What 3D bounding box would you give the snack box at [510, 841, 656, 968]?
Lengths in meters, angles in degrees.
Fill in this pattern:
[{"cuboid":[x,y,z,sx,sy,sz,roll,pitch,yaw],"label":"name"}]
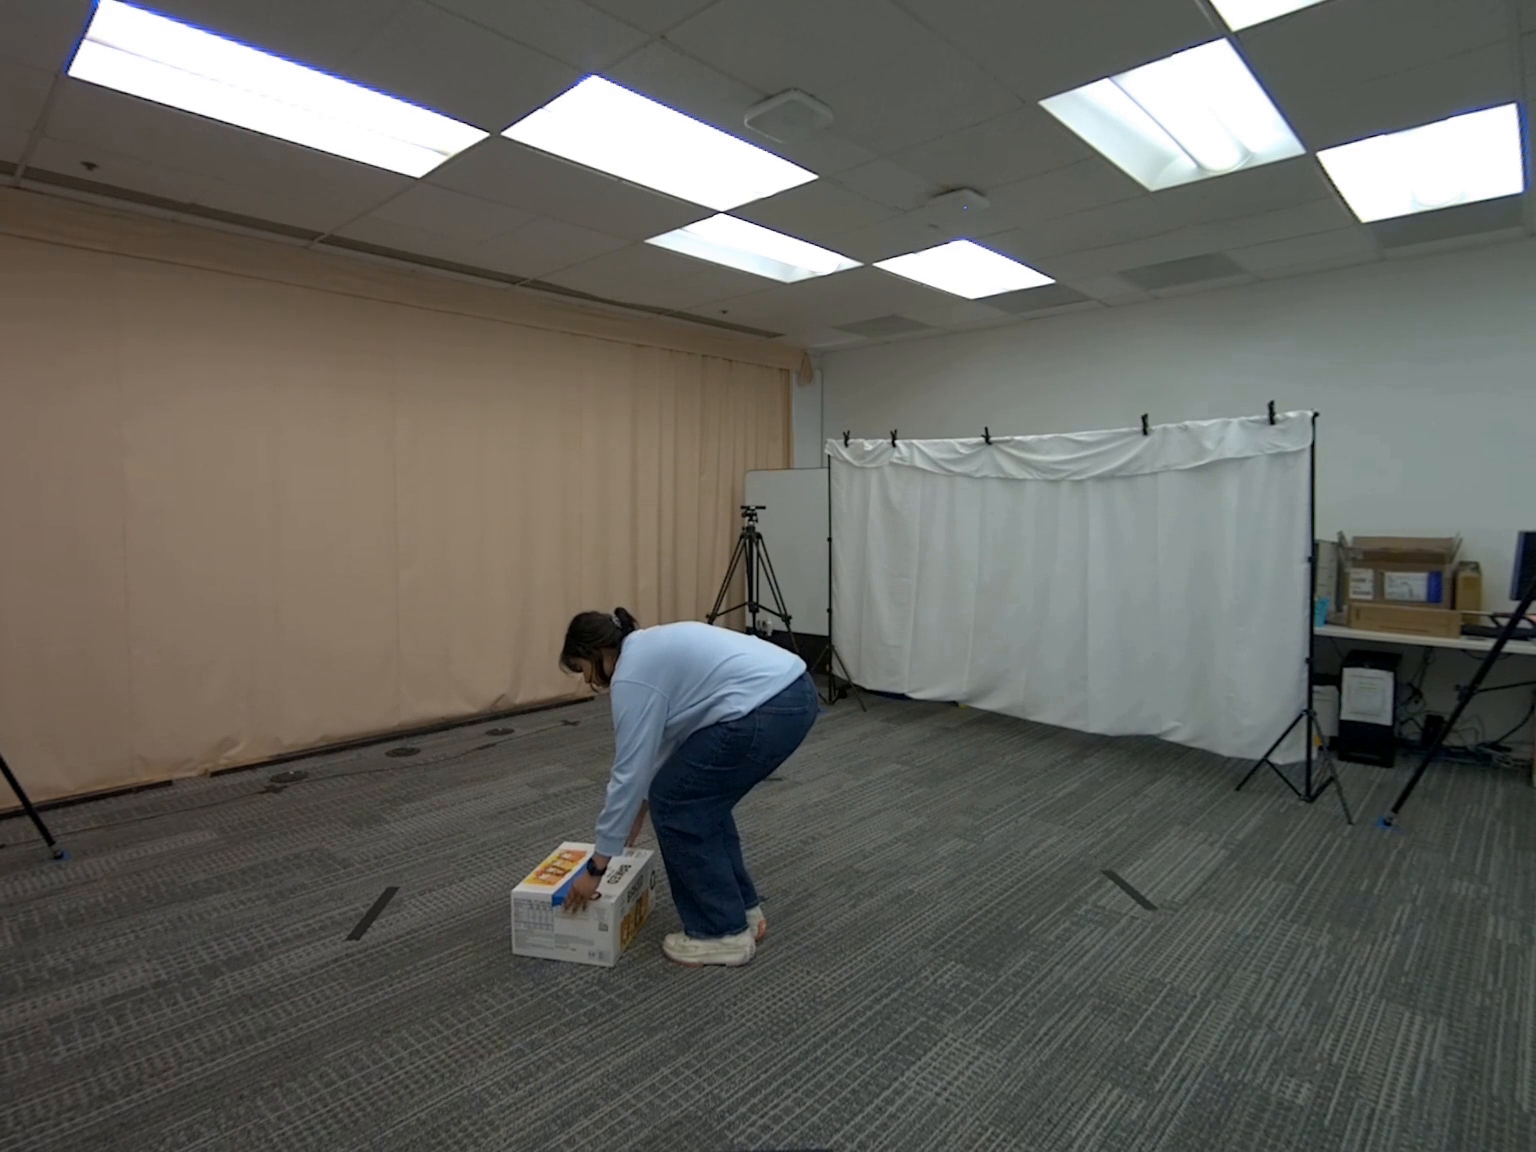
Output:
[{"cuboid":[-0.597,1.070,2.756,0.345,0.205,0.400,1,4,12],"label":"snack box"}]
